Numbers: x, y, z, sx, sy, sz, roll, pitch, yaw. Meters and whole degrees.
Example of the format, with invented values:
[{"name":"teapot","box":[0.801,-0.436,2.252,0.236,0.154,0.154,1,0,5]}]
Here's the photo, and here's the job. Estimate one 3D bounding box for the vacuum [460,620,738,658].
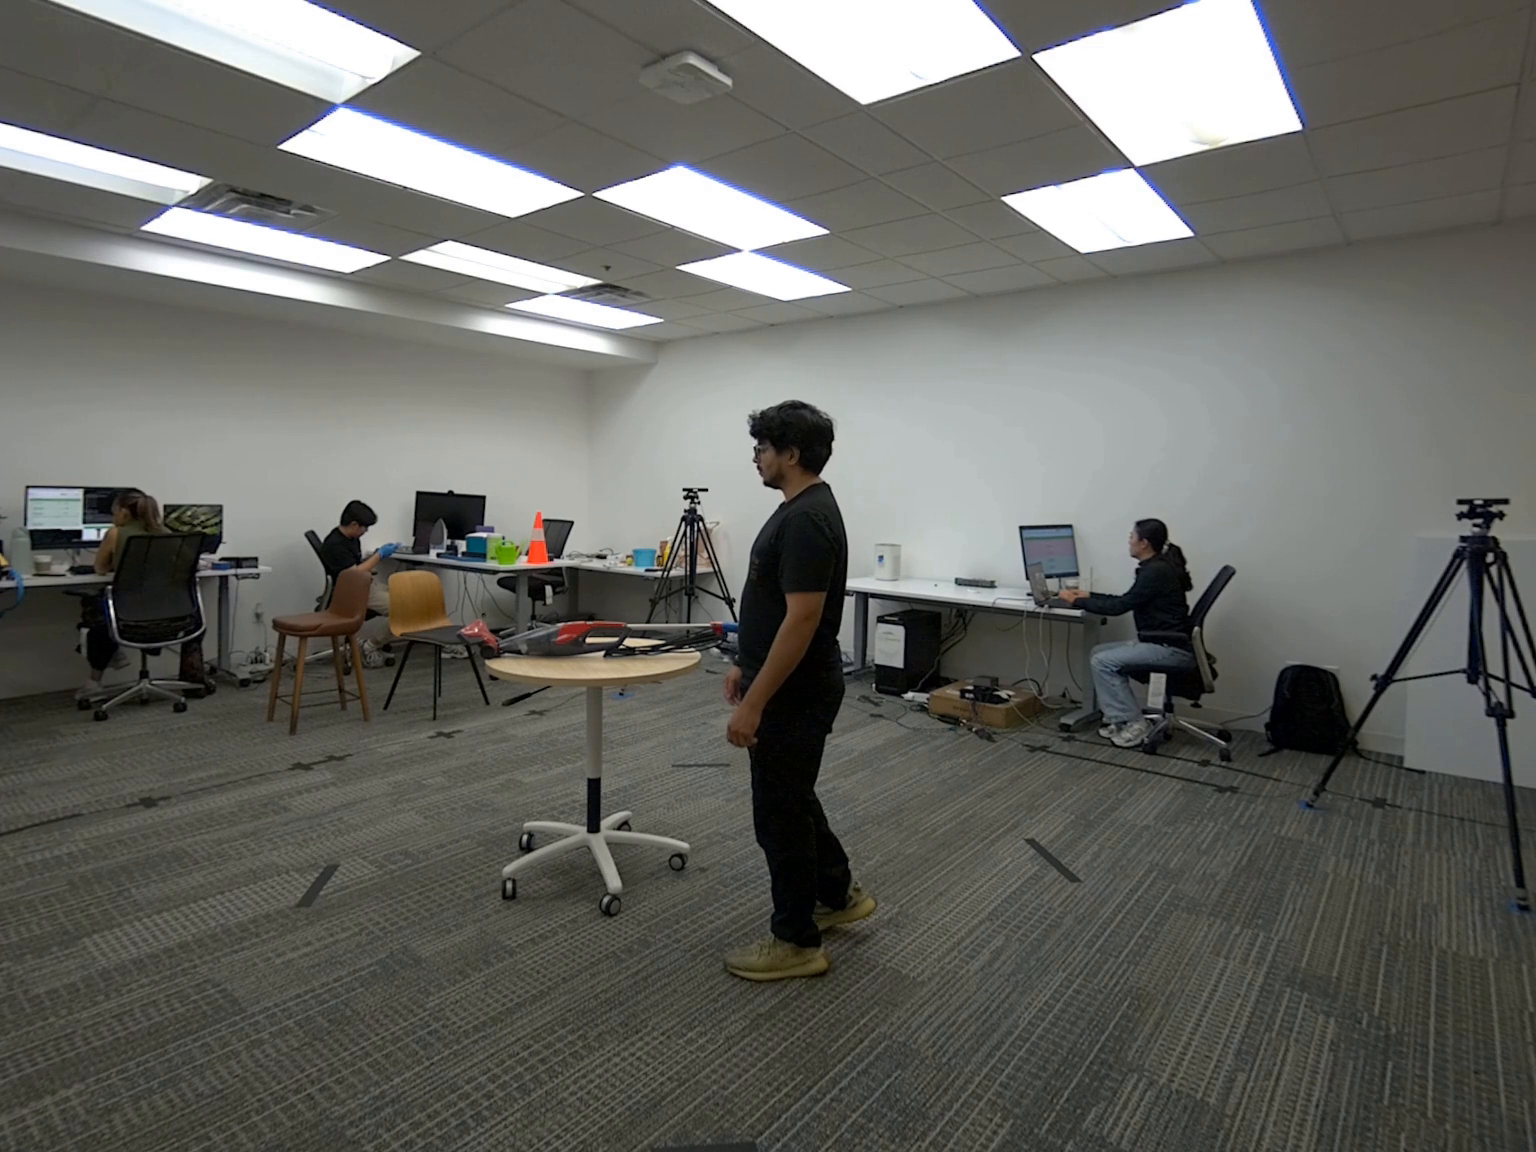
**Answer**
[{"name":"vacuum","box":[-0.518,0.228,3.033,1.049,0.144,0.253,-1,3,0]}]
